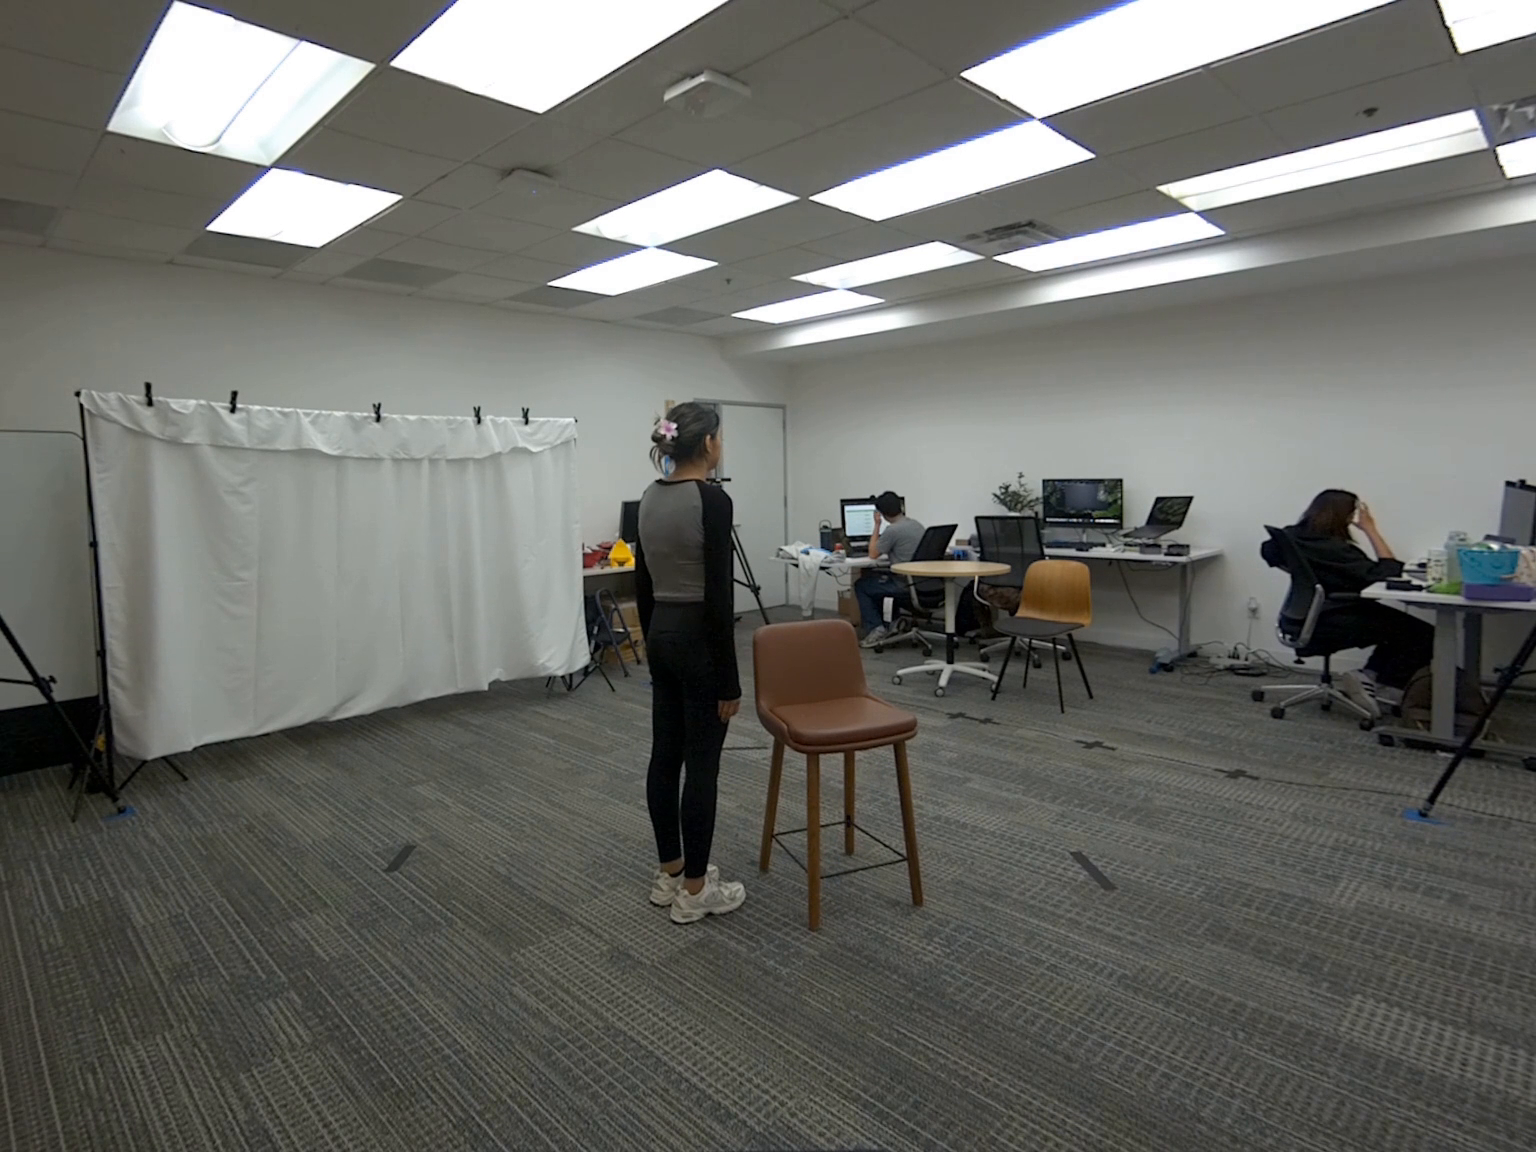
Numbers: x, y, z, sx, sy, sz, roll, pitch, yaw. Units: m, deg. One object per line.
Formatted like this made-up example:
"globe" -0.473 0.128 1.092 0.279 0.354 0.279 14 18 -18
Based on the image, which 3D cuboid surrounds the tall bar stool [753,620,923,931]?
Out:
"tall bar stool" 0.225 0.626 2.889 0.448 0.888 0.478 -3 3 -23
